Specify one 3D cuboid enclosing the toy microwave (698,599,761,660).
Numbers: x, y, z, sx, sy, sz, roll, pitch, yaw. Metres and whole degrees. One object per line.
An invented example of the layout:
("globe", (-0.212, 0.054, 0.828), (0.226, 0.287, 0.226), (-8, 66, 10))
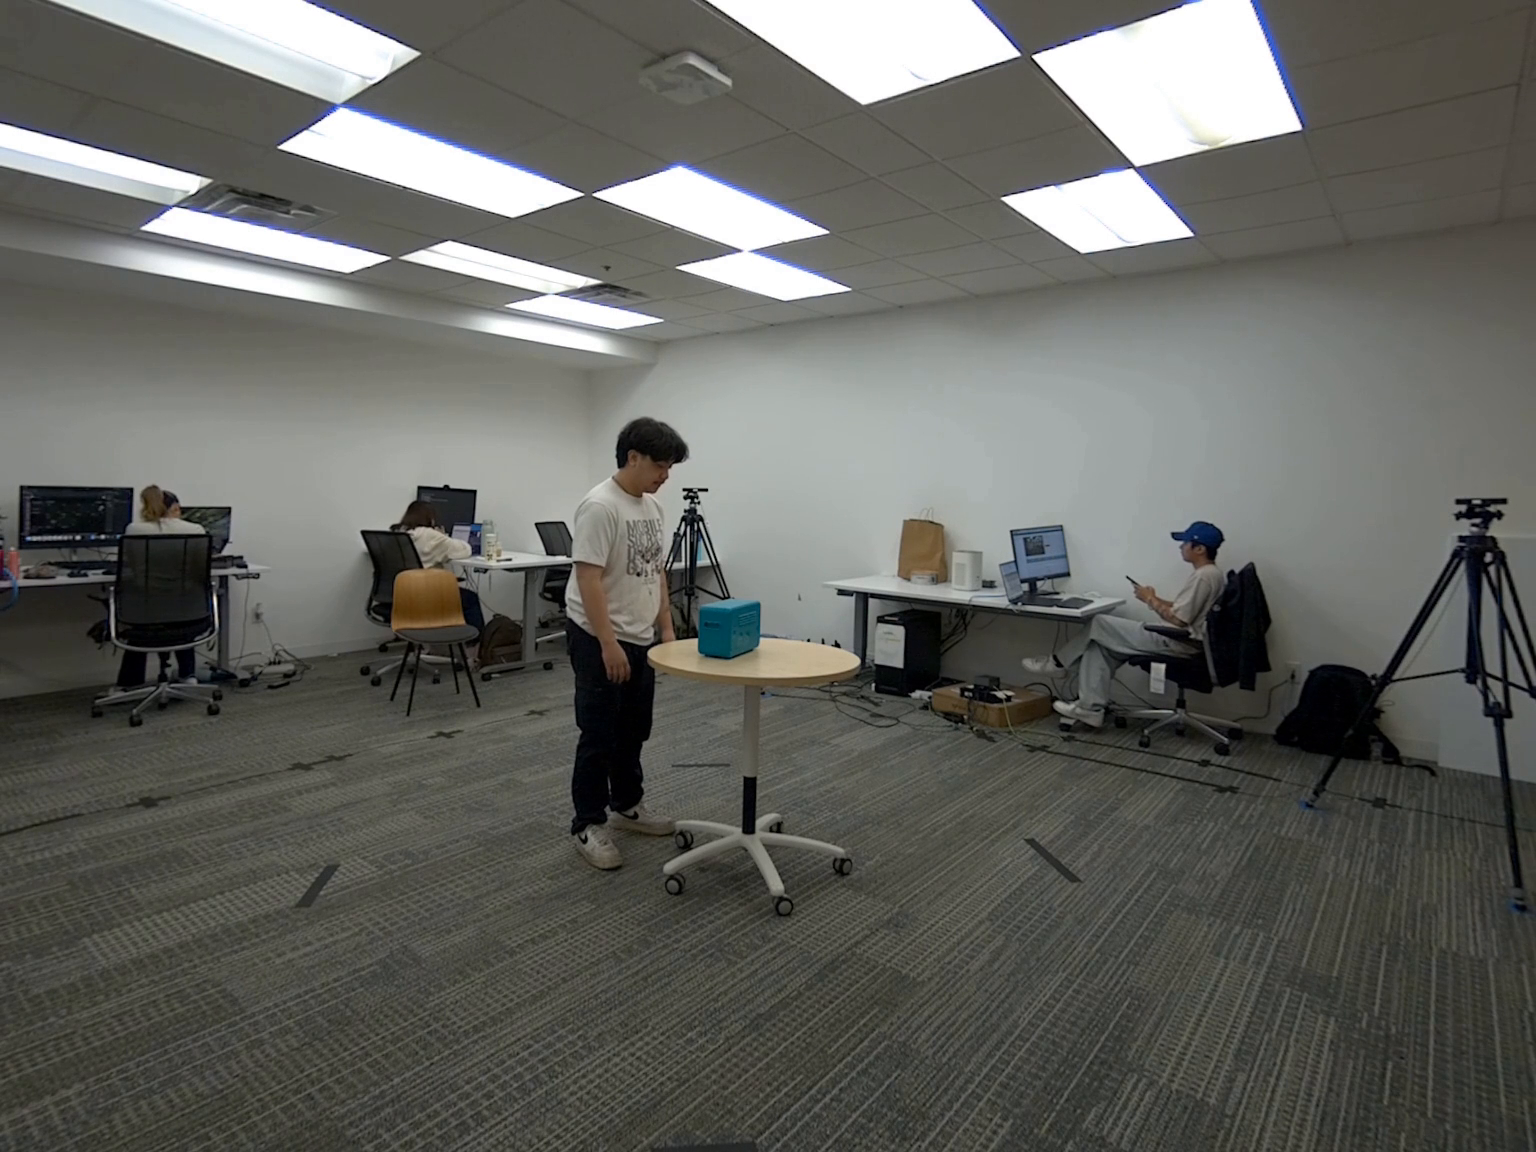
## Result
("toy microwave", (-0.154, 0.184, 3.108), (0.156, 0.183, 0.280), (3, 5, 24))
